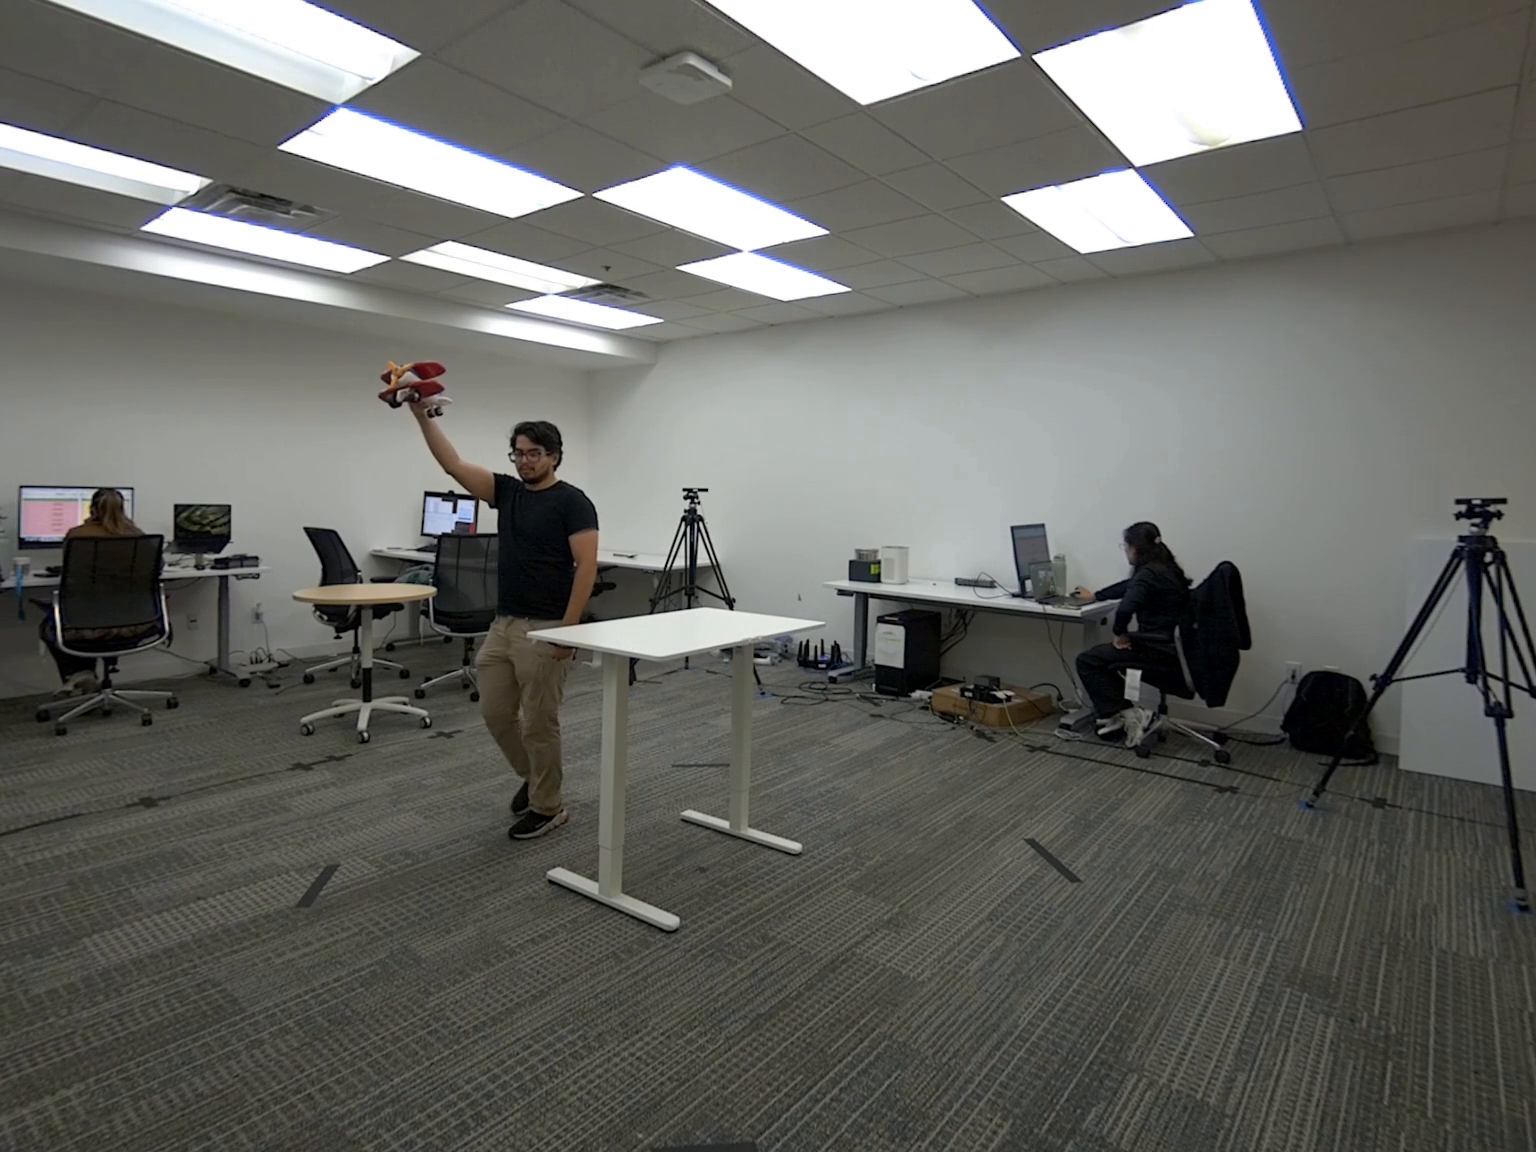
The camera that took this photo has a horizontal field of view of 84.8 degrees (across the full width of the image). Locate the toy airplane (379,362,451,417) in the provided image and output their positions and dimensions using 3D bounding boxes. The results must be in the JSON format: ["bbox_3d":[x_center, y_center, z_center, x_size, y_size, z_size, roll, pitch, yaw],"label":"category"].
[{"bbox_3d":[-1.319,-0.681,3.121,0.248,0.157,0.260,-5,-5,-13],"label":"toy airplane"}]
